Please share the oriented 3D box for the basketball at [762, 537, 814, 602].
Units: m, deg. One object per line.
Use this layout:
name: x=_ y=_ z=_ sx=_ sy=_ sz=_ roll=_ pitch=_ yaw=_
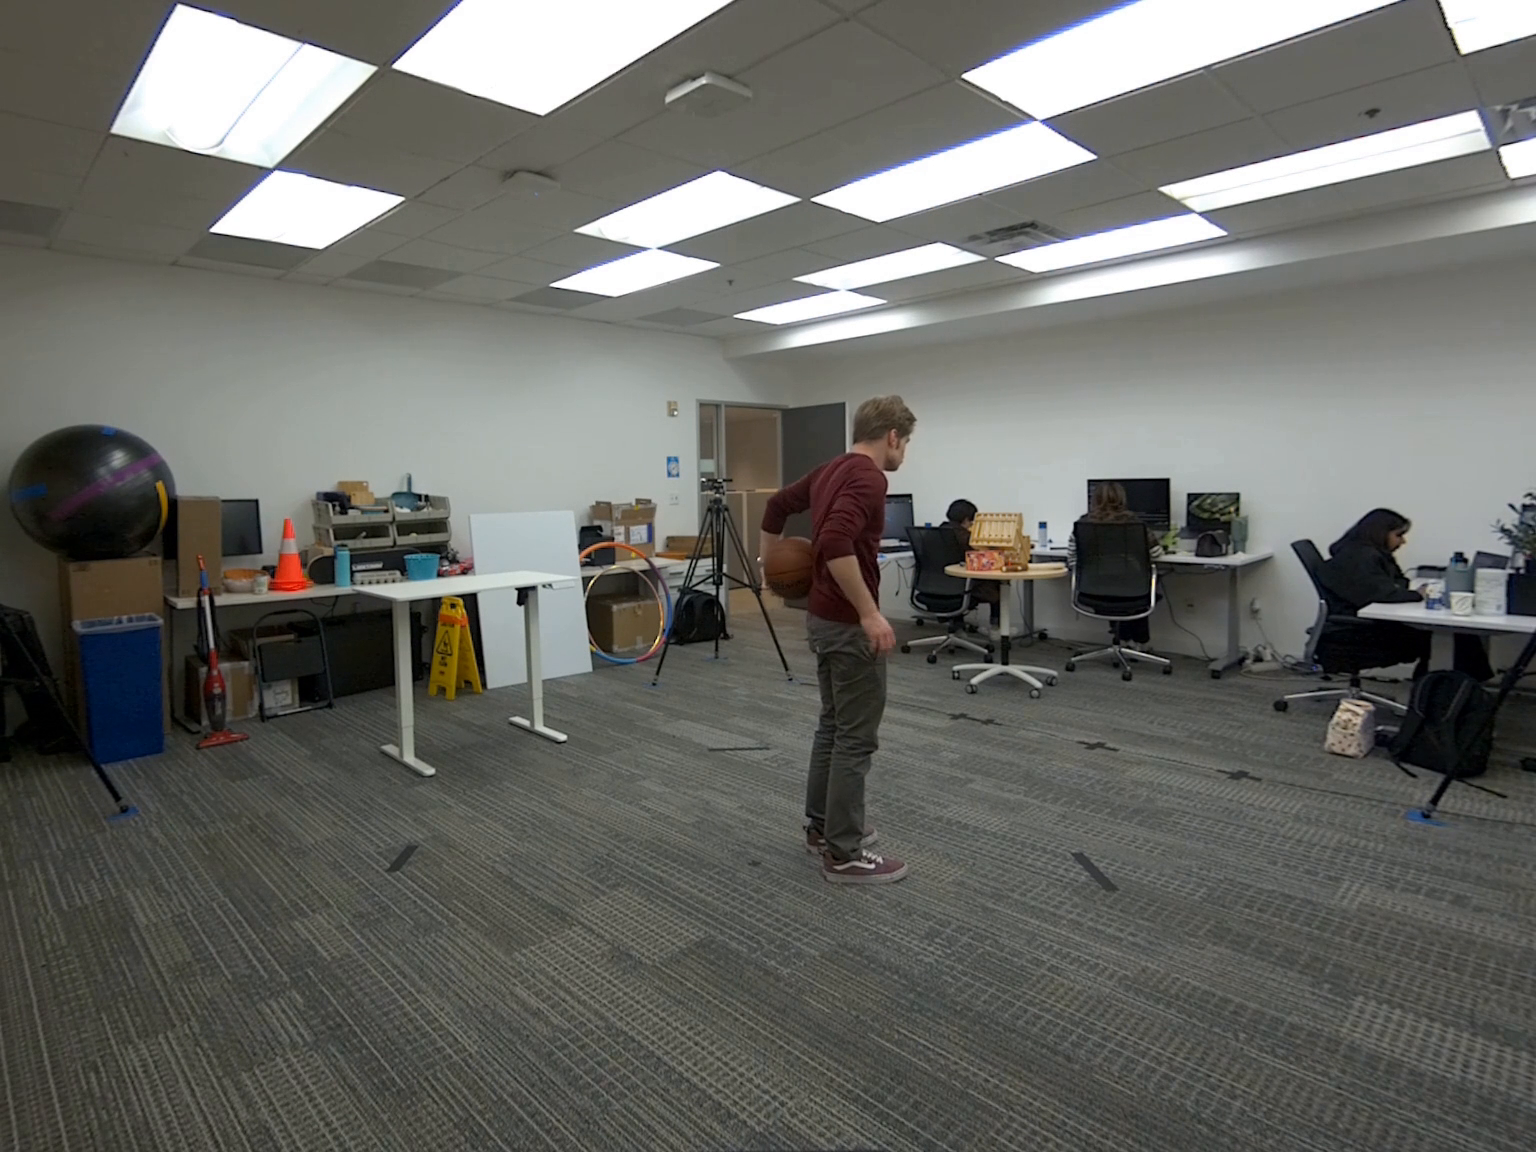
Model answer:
basketball: x=0.104 y=-0.031 z=3.236 sx=0.236 sy=0.235 sz=0.237 roll=-1 pitch=5 yaw=-2
